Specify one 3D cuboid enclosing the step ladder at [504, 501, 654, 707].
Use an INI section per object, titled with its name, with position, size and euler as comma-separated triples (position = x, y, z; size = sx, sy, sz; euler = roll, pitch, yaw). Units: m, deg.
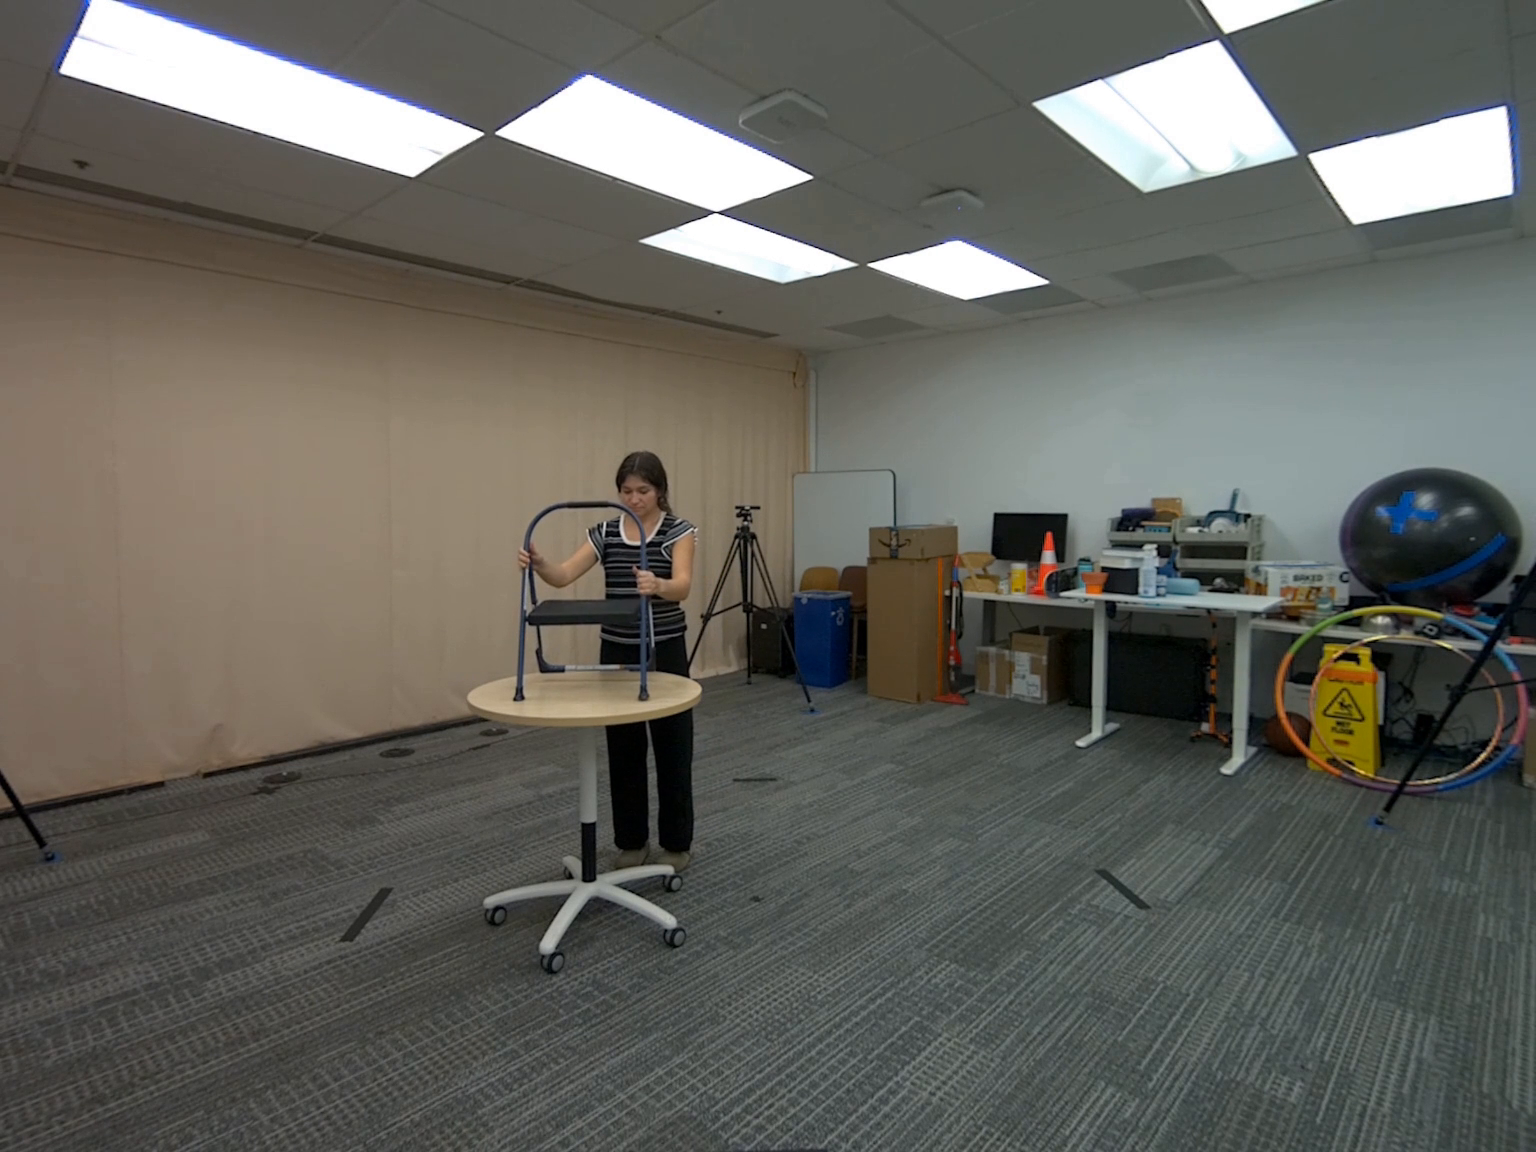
[step ladder]
position = -0.599, 0.073, 2.769
size = 0.431, 0.604, 0.350
euler = 2, 6, -1
